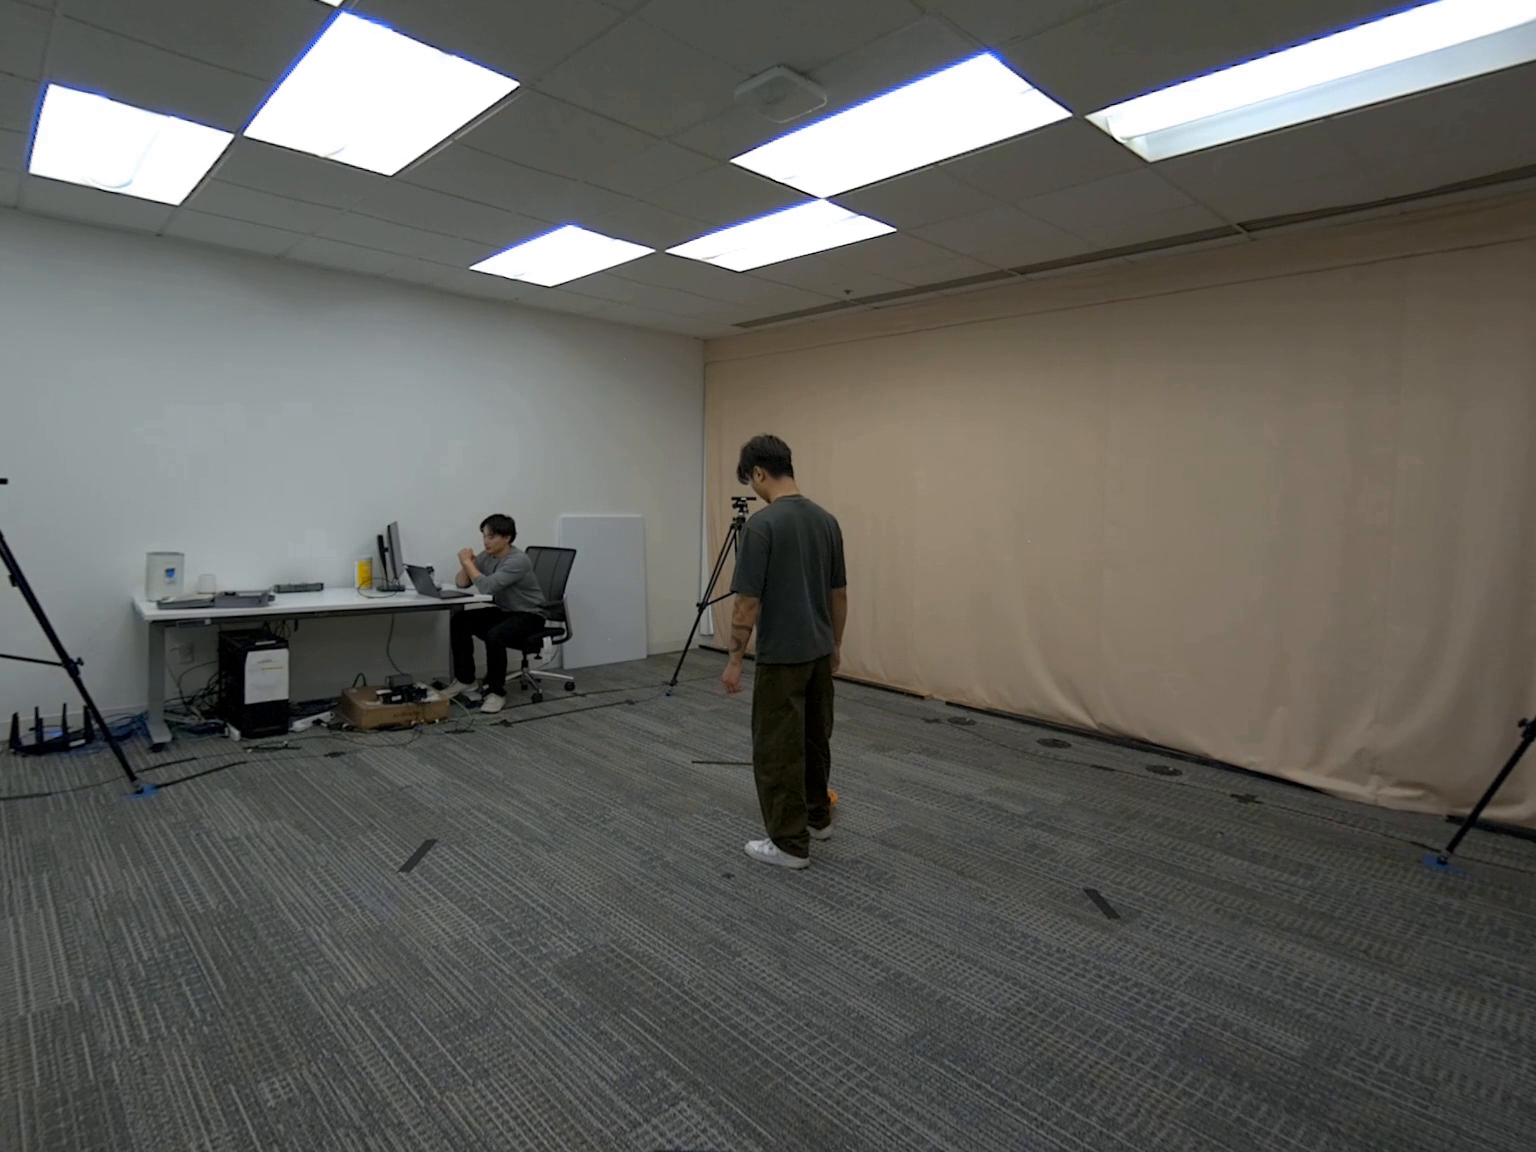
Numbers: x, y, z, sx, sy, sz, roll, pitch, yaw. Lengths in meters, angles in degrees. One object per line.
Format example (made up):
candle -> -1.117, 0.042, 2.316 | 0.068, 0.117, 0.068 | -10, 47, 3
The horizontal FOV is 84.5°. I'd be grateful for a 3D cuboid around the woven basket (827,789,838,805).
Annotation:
woven basket -> 0.138, 1.018, 3.830 | 0.359, 0.073, 0.247 | 6, 6, 37
